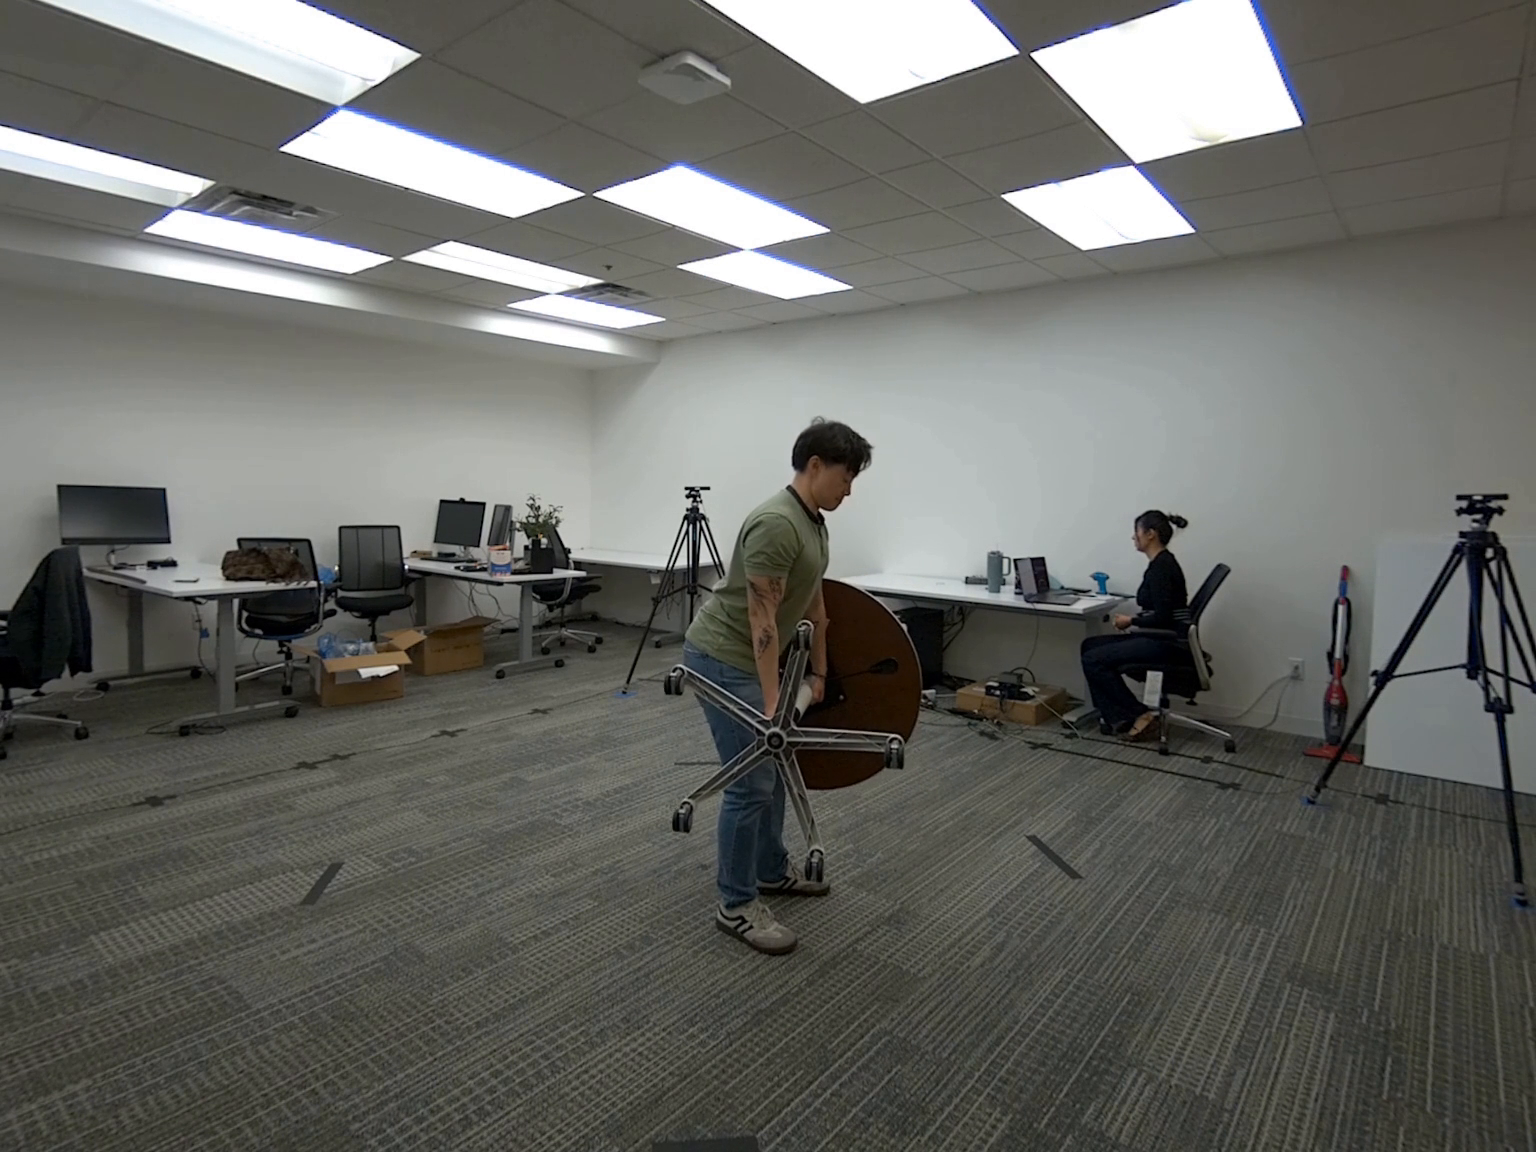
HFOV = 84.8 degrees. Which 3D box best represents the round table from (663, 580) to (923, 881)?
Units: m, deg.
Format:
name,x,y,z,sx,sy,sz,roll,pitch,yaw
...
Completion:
name,x,y,z,sx,sy,sz,roll,pitch,yaw
round table,0.077,0.434,2.661,0.775,0.760,0.786,2,6,13
